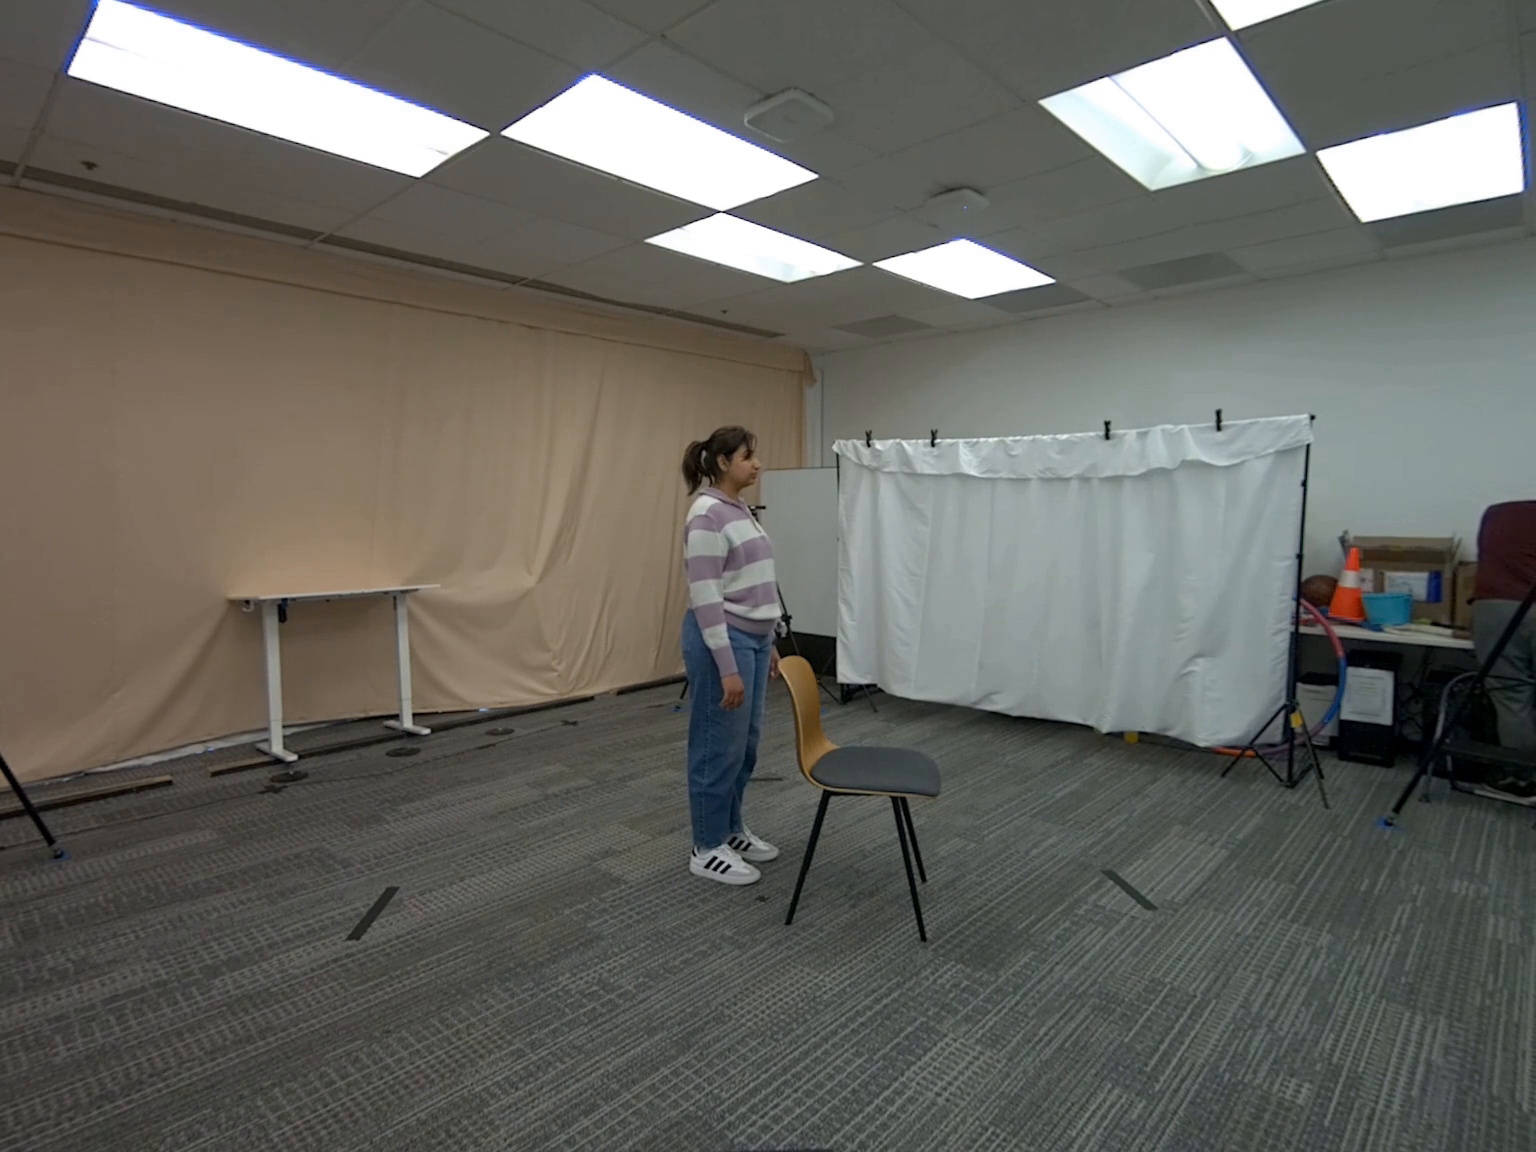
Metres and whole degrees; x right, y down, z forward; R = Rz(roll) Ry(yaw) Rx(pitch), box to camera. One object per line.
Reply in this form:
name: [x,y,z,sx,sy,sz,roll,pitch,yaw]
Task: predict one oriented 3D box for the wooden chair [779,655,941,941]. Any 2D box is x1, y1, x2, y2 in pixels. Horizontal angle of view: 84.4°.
wooden chair: [0.335,0.722,2.917,0.531,0.876,0.472,-3,2,13]
